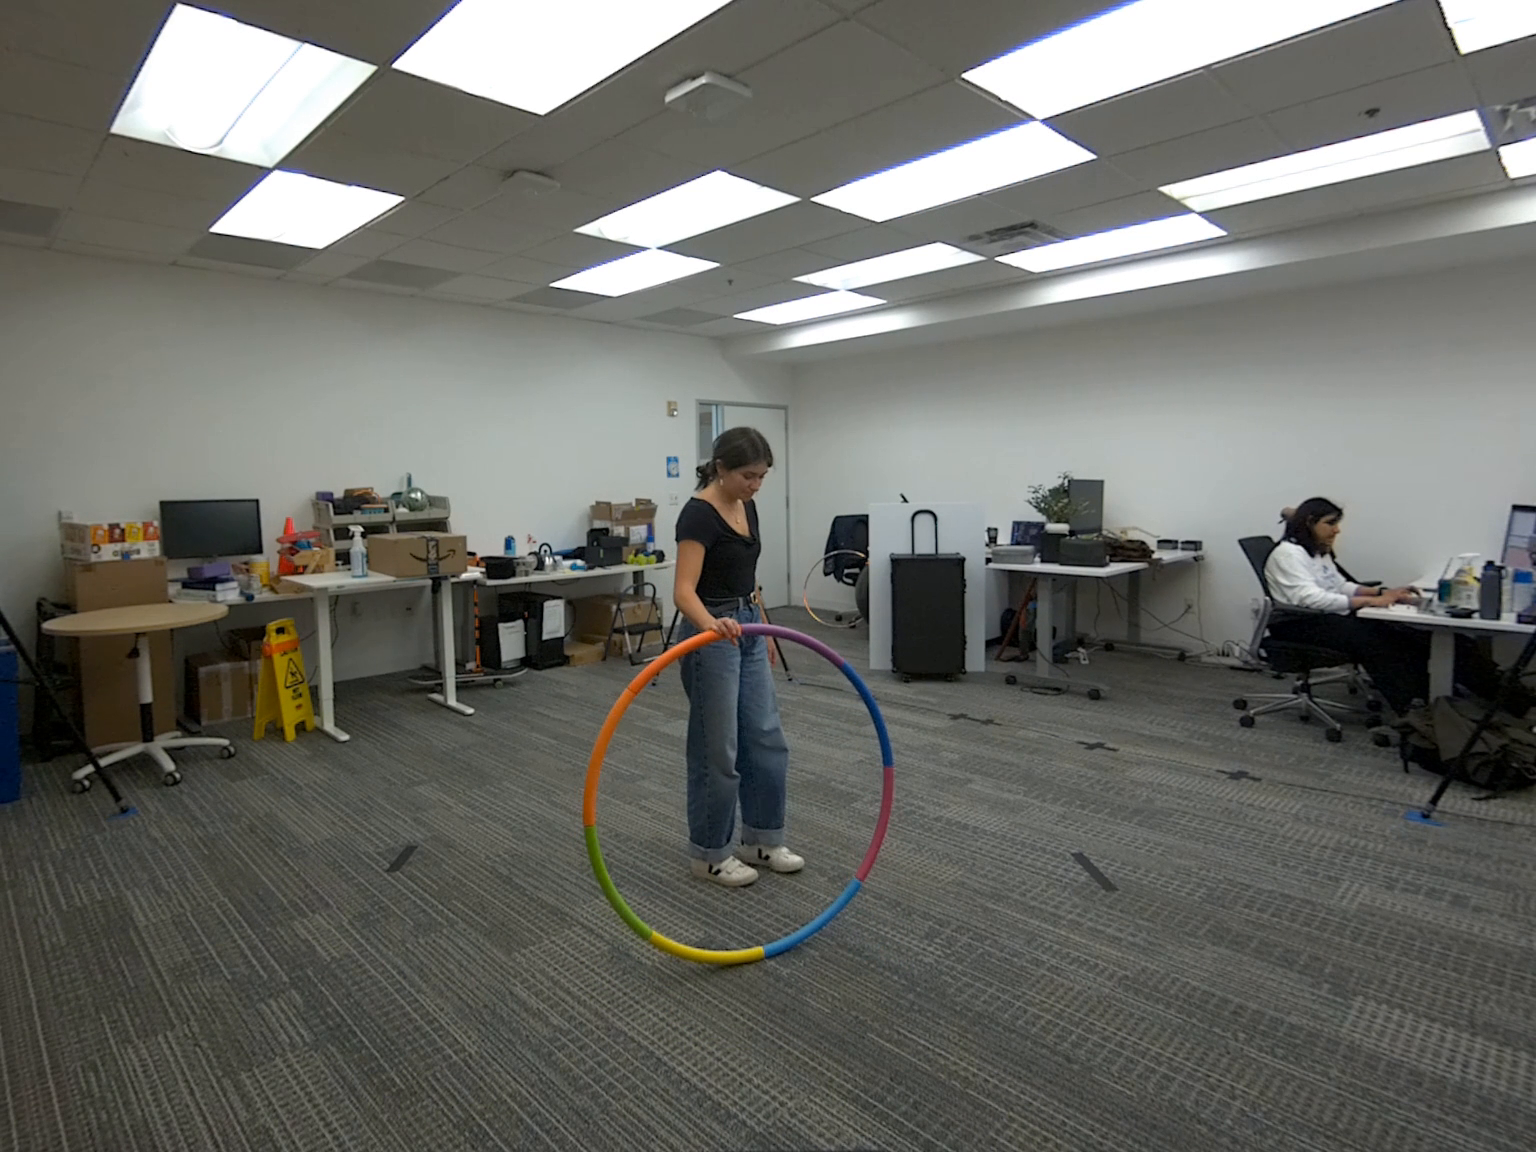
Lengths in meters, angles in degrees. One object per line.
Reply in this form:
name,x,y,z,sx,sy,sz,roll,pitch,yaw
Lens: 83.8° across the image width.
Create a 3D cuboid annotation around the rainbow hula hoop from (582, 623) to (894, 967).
rainbow hula hoop,-0.046,0.629,2.507,0.959,0.979,0.036,-3,-1,-24
